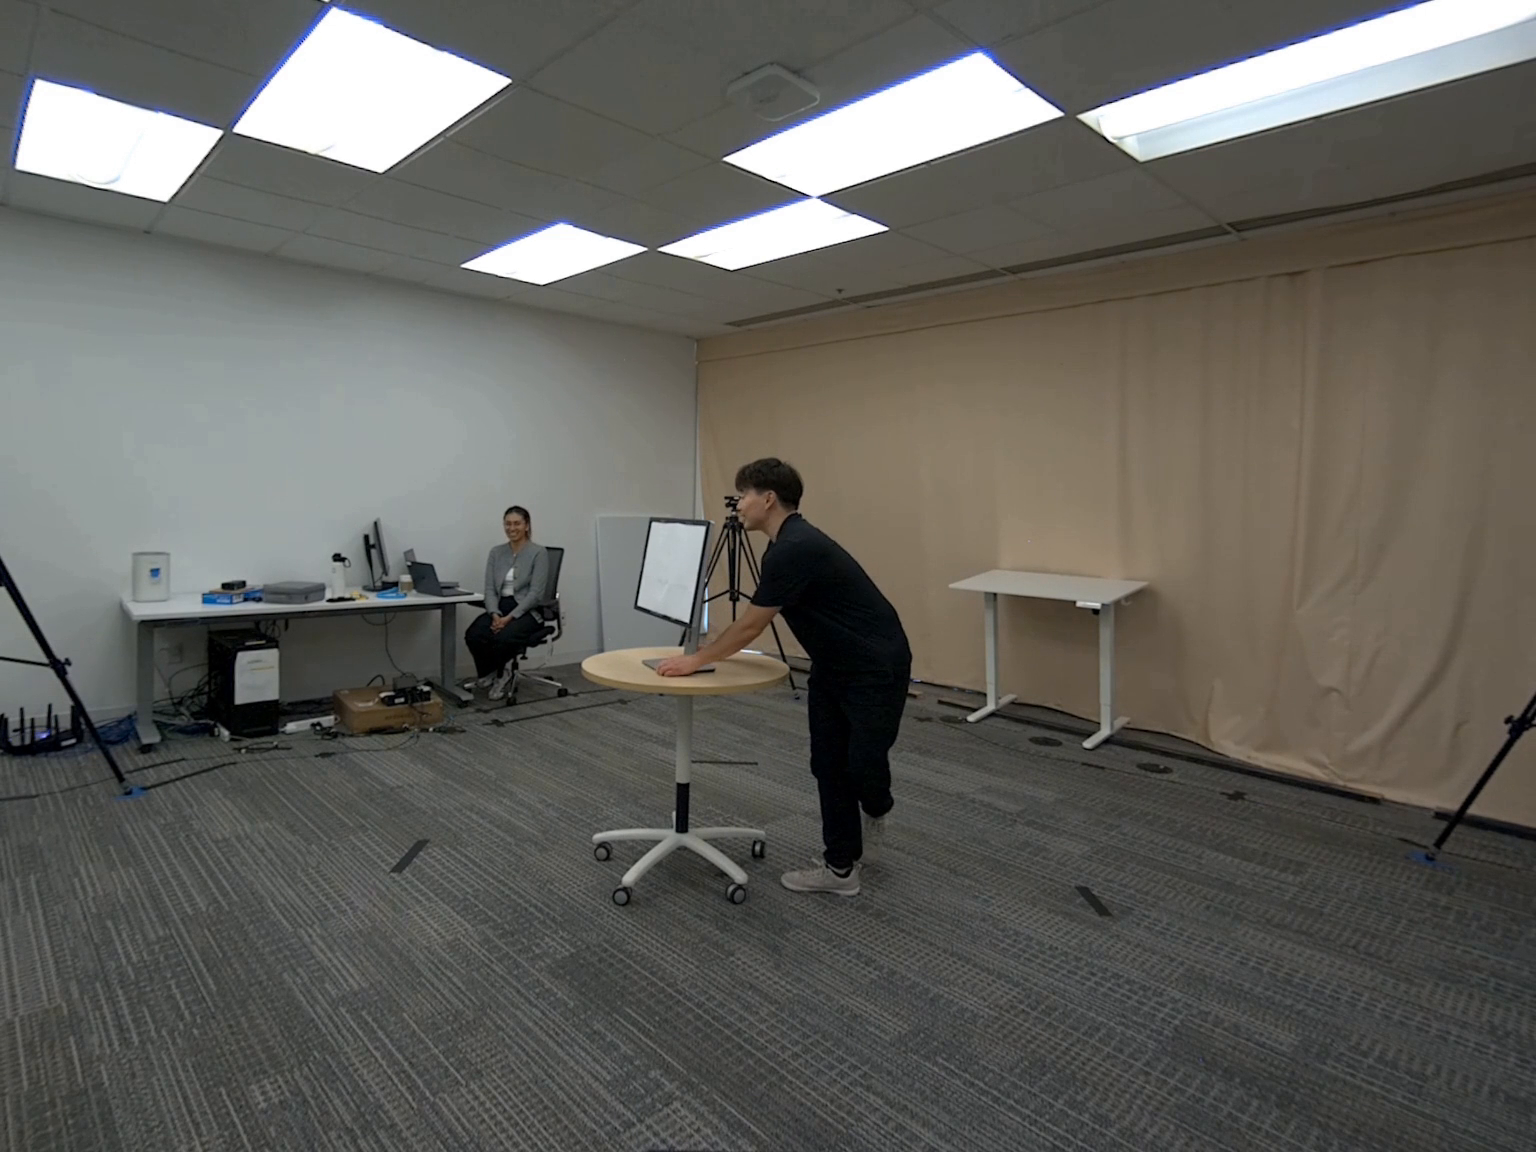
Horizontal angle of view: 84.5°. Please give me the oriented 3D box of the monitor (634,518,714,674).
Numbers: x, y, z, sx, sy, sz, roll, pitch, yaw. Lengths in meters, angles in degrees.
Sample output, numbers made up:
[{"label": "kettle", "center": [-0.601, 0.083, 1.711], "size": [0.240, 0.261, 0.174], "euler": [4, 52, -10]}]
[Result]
[{"label": "monitor", "center": [-0.322, 0.066, 3.044], "size": [0.183, 0.521, 0.551], "euler": [-2, 5, -30]}]
